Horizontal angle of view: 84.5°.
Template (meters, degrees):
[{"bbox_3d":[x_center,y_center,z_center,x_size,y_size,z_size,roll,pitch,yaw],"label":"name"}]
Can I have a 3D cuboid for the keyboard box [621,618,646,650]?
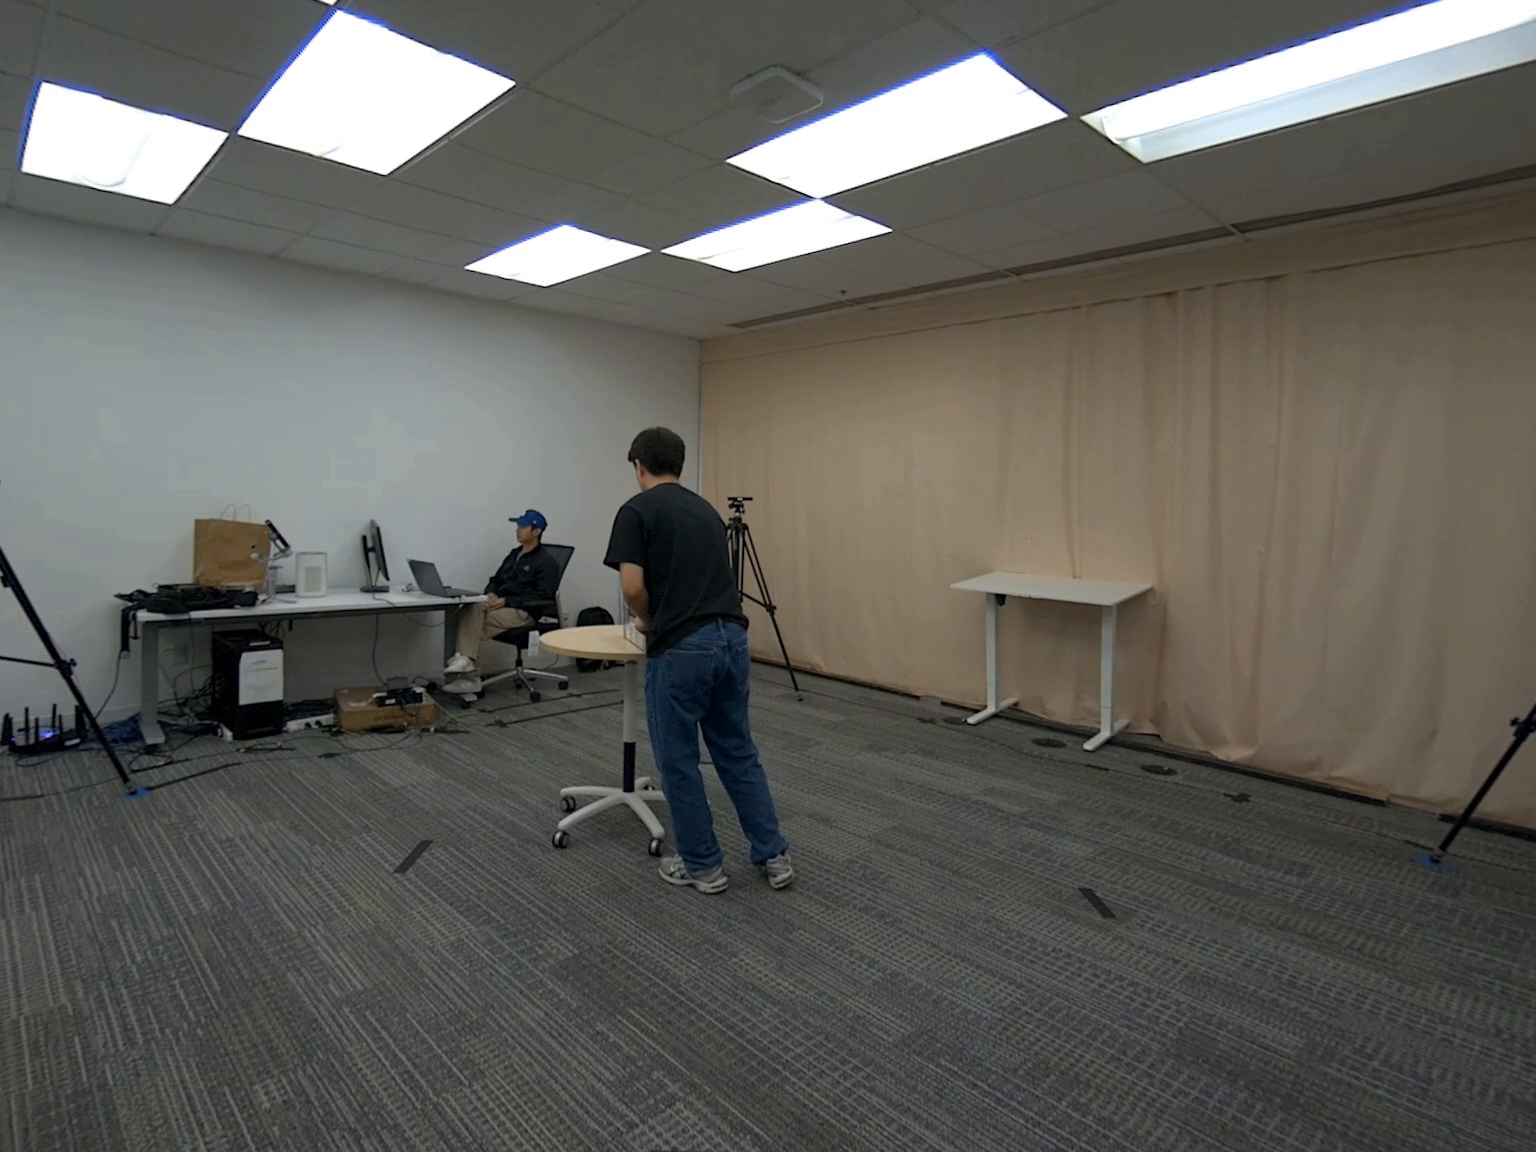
[{"bbox_3d":[-0.514,0.192,3.378,0.058,0.175,0.444,-2,4,-19],"label":"keyboard box"}]
